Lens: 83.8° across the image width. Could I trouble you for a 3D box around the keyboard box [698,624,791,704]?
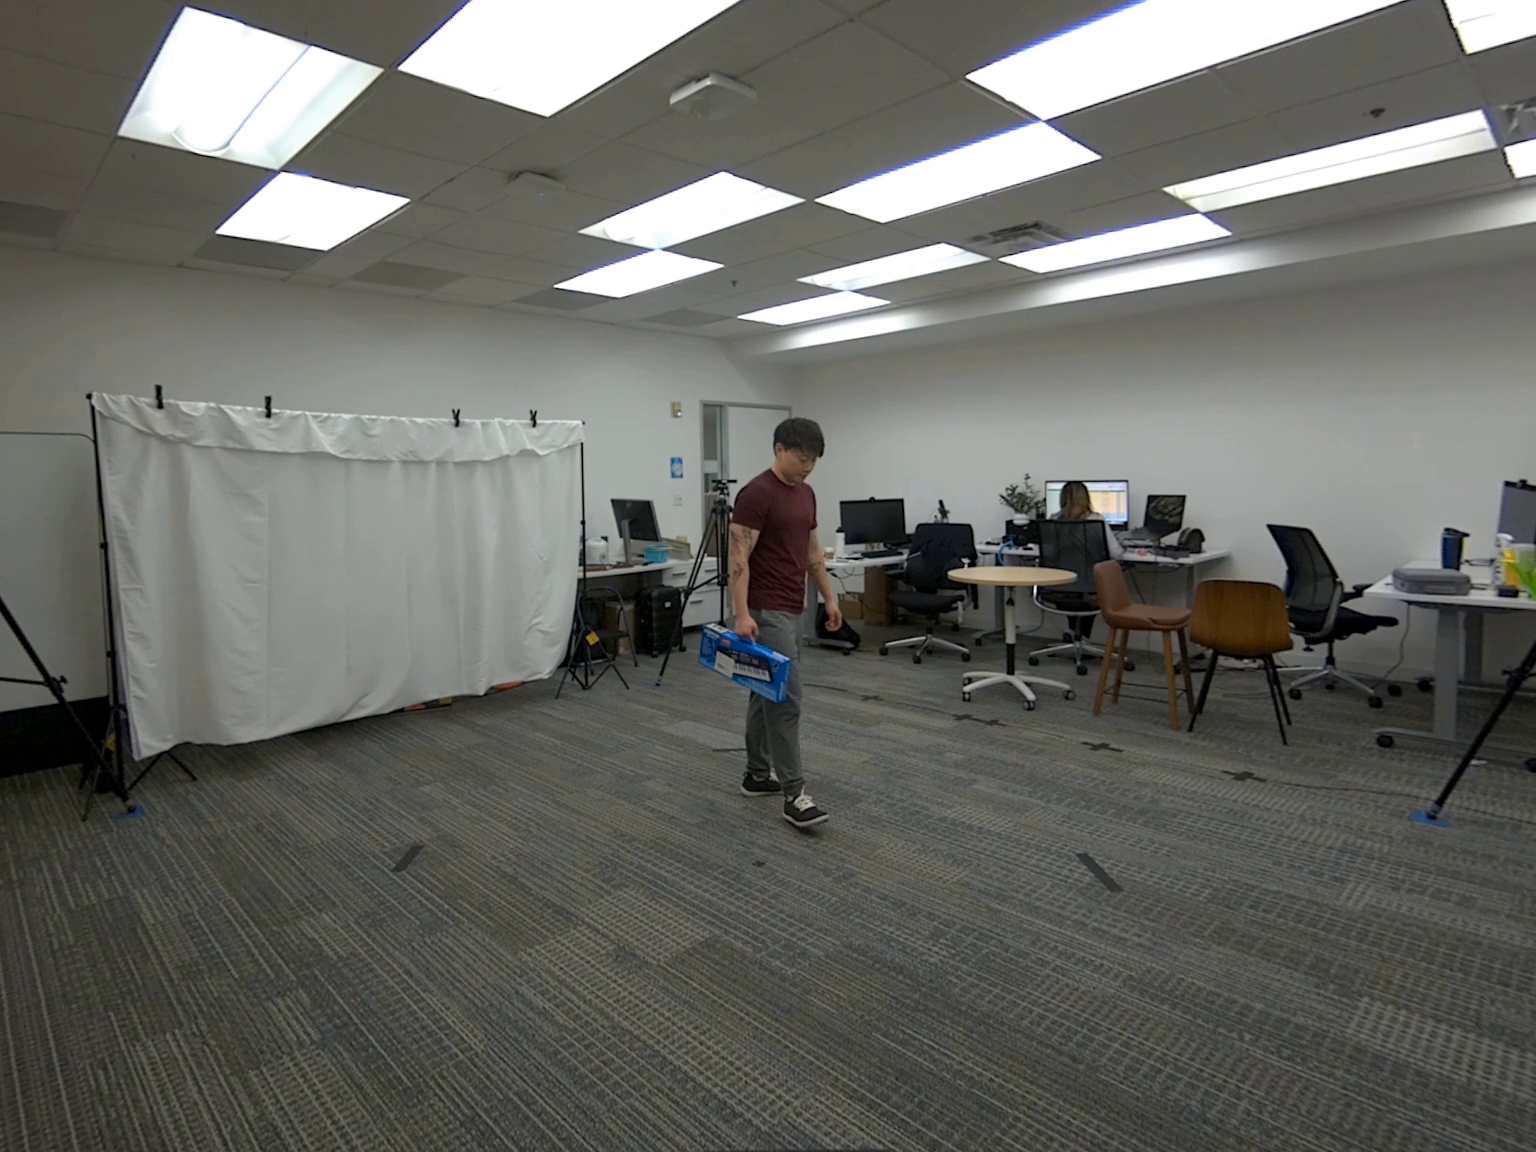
[{"bbox_3d":[-0.092,0.349,3.447,0.453,0.174,0.057,20,19,39],"label":"keyboard box"}]
